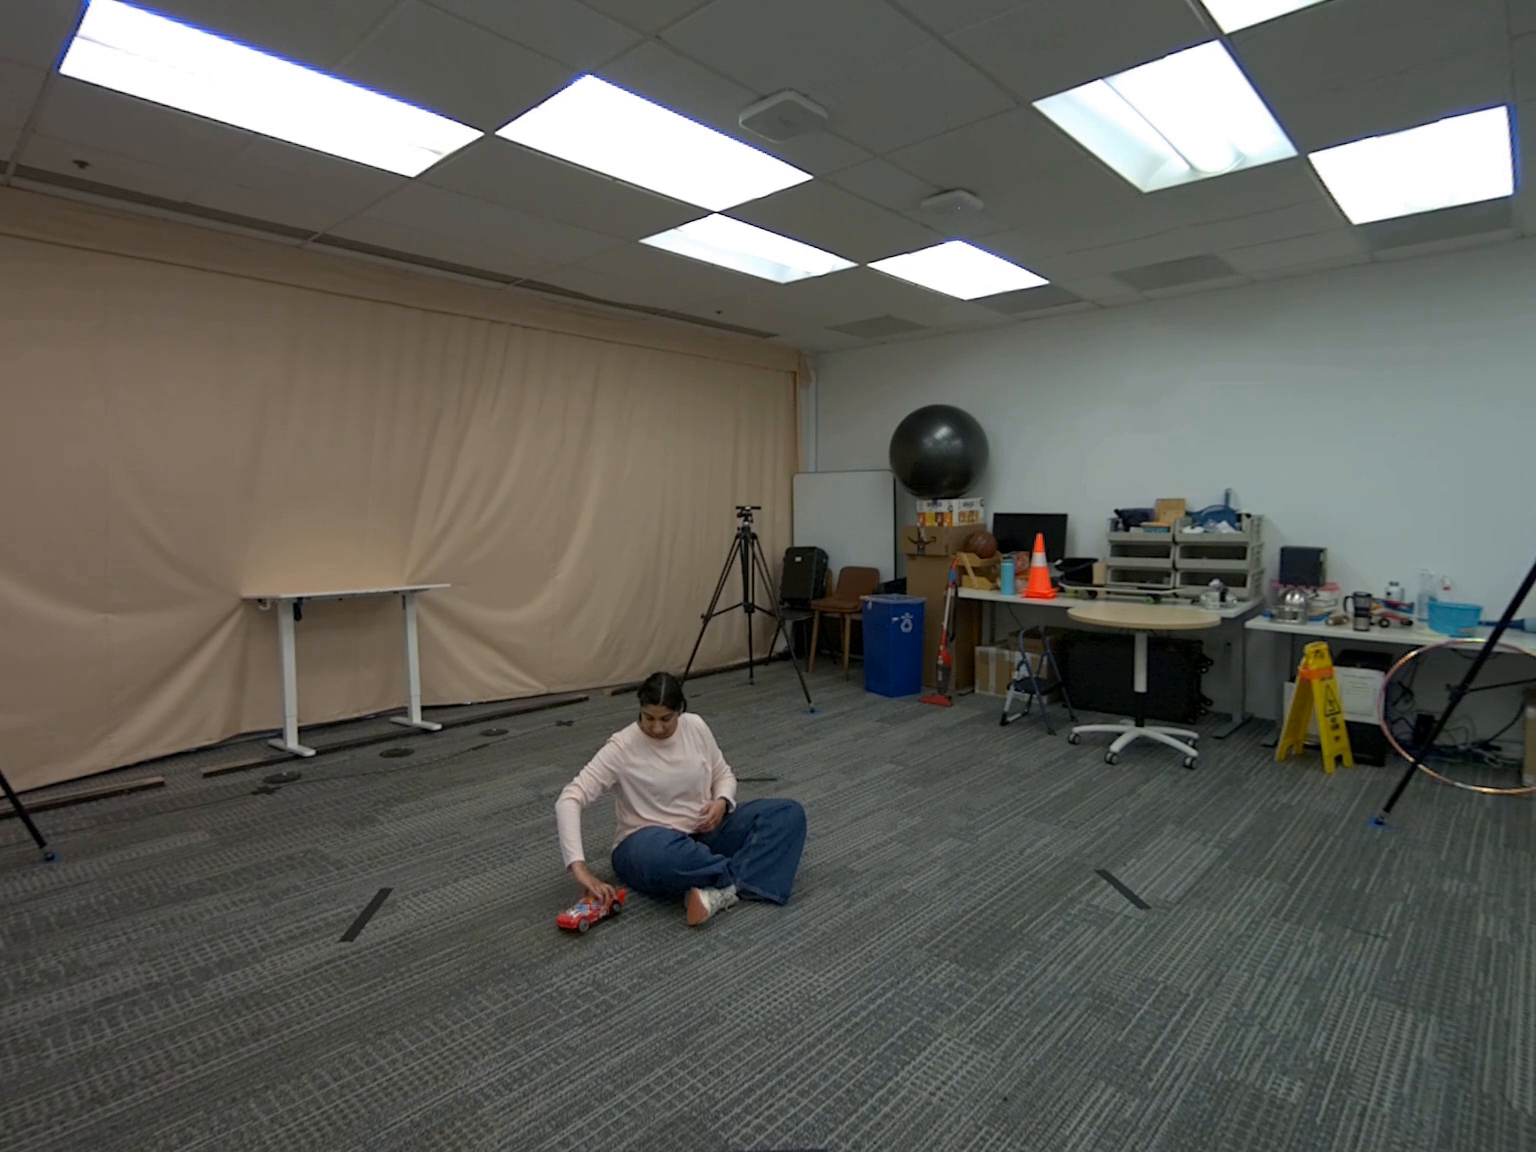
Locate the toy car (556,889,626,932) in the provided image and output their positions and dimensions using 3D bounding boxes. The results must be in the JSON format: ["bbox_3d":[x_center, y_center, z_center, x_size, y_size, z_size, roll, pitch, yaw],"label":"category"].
[{"bbox_3d":[-0.583,1.116,2.833,0.134,0.083,0.249,-13,7,37],"label":"toy car"}]
